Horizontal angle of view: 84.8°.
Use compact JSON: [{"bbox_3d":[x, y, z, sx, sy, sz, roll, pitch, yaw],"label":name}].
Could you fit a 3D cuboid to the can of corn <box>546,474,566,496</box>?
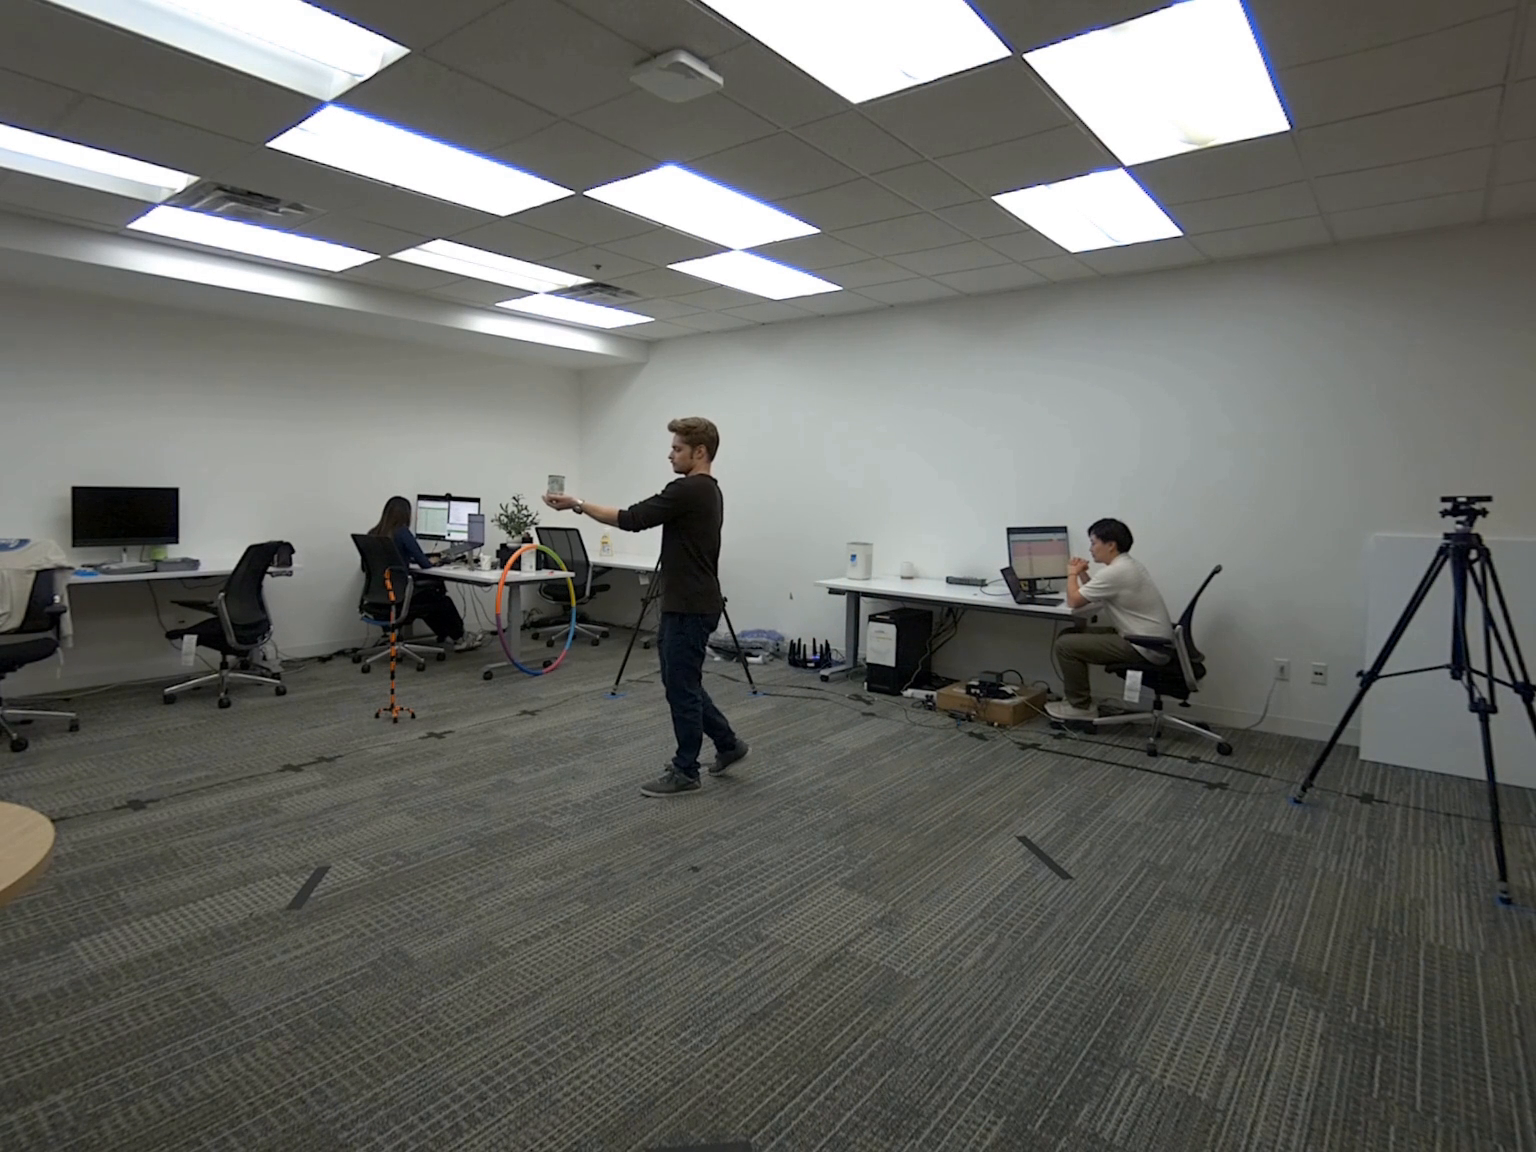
[{"bbox_3d":[-0.945,-0.389,3.797,0.074,0.111,0.074,3,-1,-2],"label":"can of corn"}]
